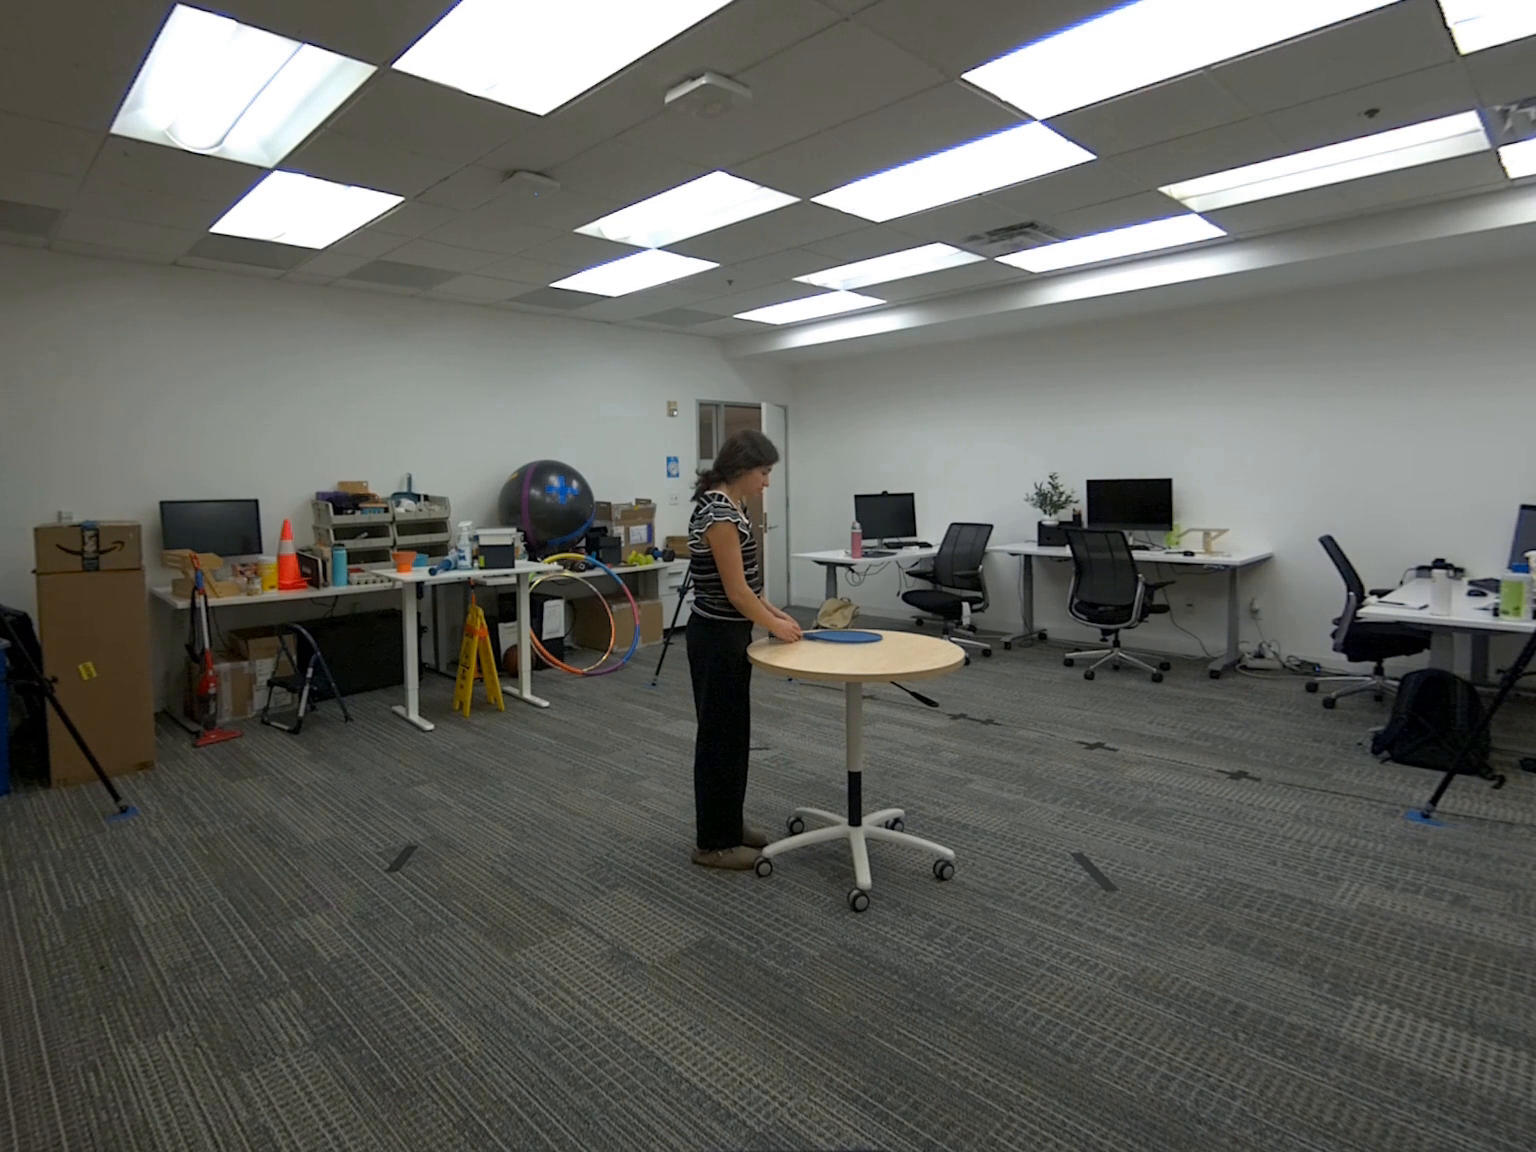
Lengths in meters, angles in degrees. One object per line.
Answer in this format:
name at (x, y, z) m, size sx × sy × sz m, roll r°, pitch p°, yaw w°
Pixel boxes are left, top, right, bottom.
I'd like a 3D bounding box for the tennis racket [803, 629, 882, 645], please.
tennis racket at (0.218, 0.228, 3.250) m, size 0.431 × 0.031 × 0.216 m, roll 0°, pitch 8°, yaw -4°
